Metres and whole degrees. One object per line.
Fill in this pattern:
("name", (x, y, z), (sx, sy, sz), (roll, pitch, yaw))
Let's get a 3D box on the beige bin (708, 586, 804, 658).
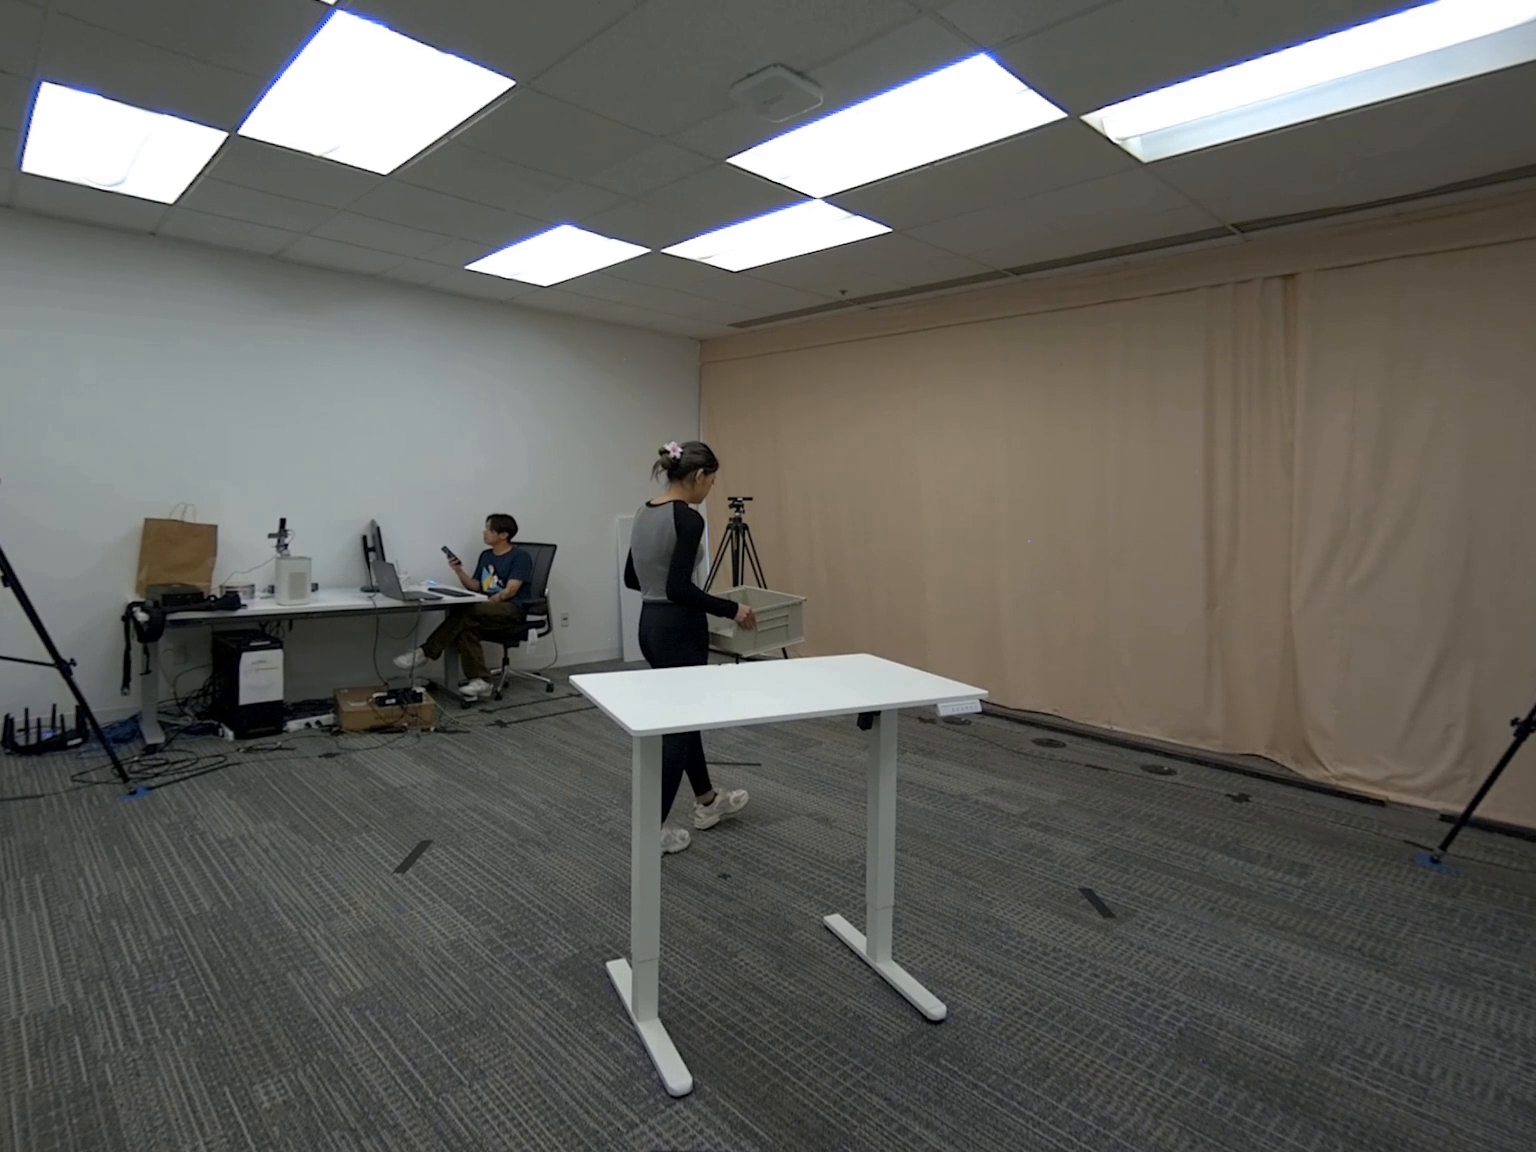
("beige bin", (-0.123, 0.178, 3.460), (0.370, 0.188, 0.432), (-9, 9, -35))
